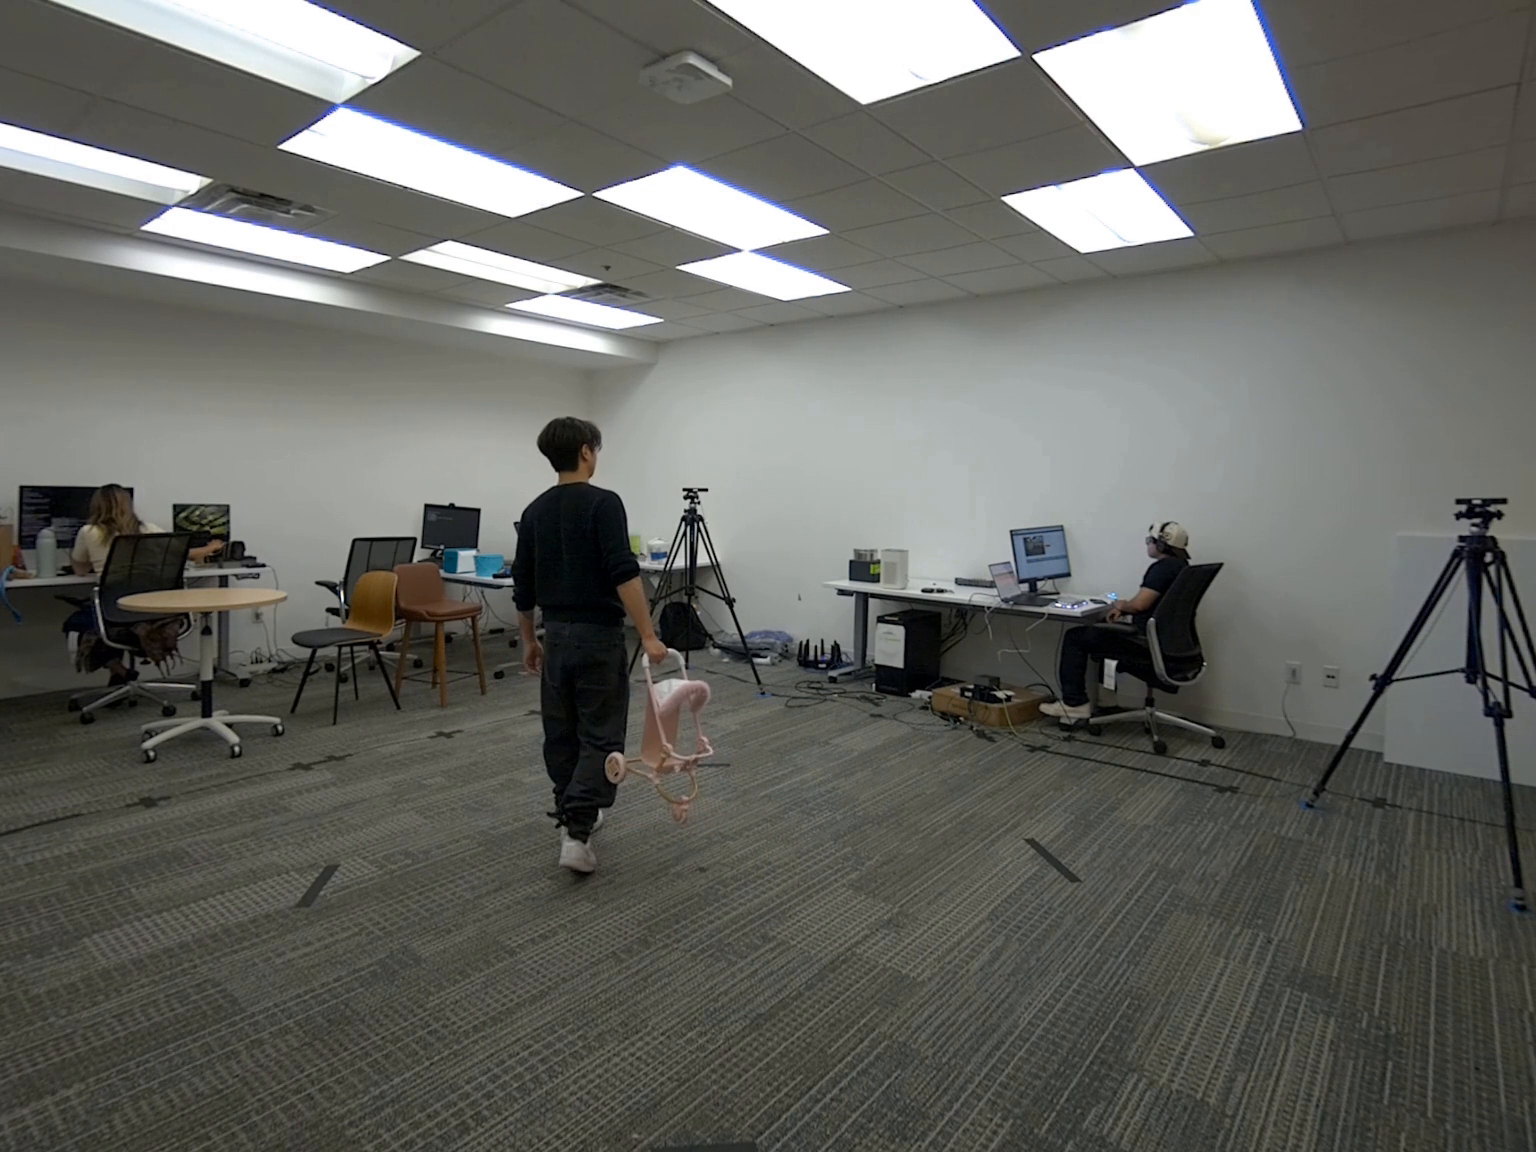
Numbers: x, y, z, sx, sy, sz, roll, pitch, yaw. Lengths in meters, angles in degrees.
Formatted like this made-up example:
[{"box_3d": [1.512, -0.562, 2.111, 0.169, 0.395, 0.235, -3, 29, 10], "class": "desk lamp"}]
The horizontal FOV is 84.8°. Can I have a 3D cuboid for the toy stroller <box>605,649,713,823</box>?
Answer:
[{"box_3d": [-0.359, 0.579, 3.041, 0.271, 0.532, 0.355, 7, 11, -47], "class": "toy stroller"}]
